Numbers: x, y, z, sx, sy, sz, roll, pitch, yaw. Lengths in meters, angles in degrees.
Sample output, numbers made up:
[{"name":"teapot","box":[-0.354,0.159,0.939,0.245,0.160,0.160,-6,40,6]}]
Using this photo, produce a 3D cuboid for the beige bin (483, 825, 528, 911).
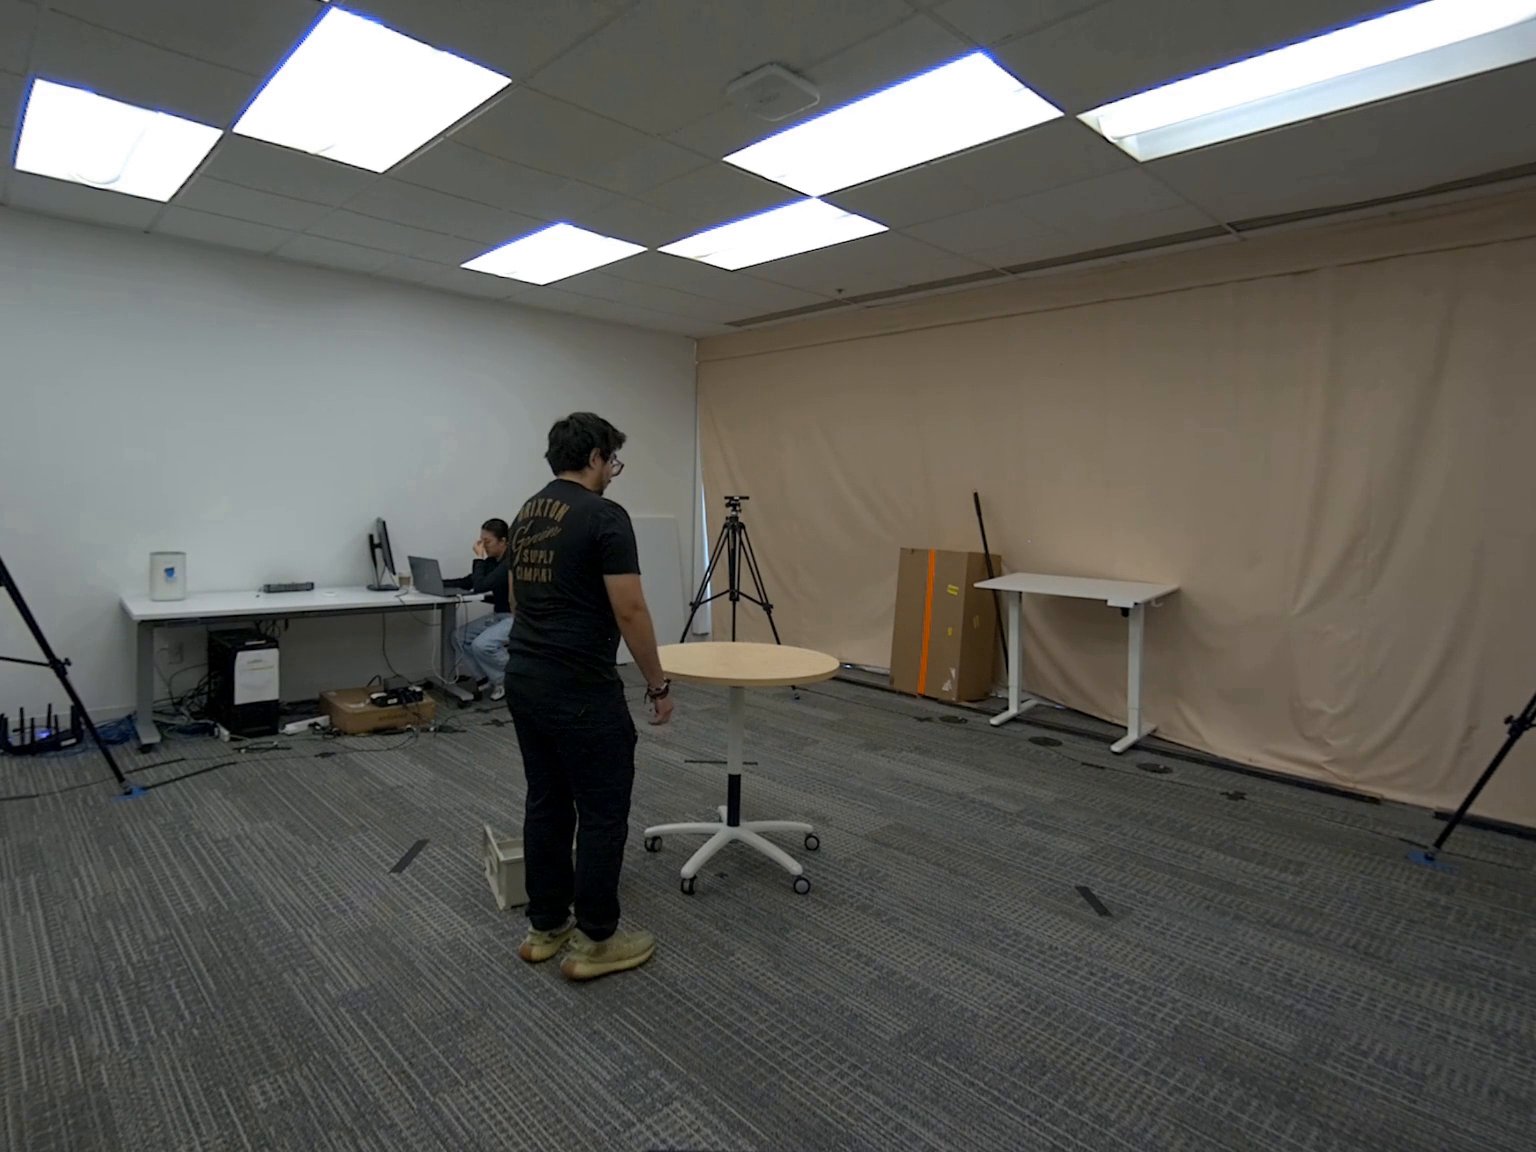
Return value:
[{"name":"beige bin","box":[-0.796,1.011,3.036,0.414,0.188,0.386,-1,6,-28]}]
